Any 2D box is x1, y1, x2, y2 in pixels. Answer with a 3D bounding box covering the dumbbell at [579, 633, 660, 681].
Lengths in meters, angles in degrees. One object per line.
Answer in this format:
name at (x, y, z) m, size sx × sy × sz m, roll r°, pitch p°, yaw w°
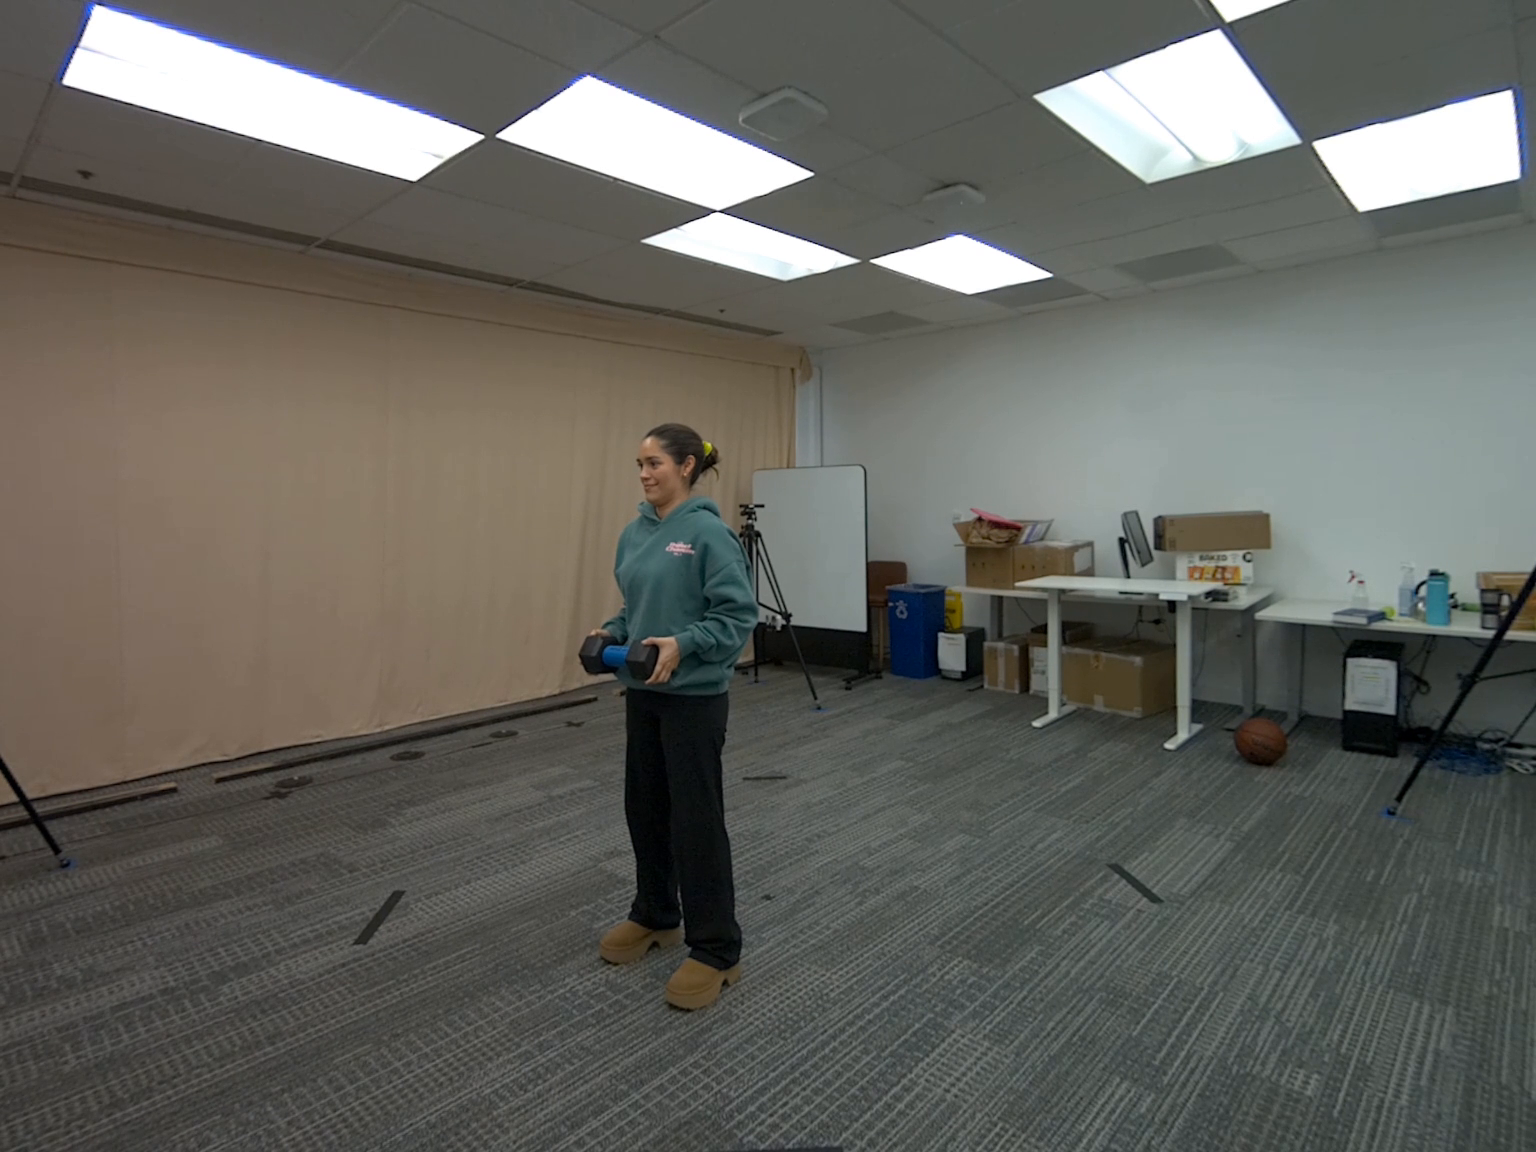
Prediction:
dumbbell at (-0.395, 0.230, 2.382) m, size 0.303 × 0.123 × 0.105 m, roll 0°, pitch -30°, yaw 41°
